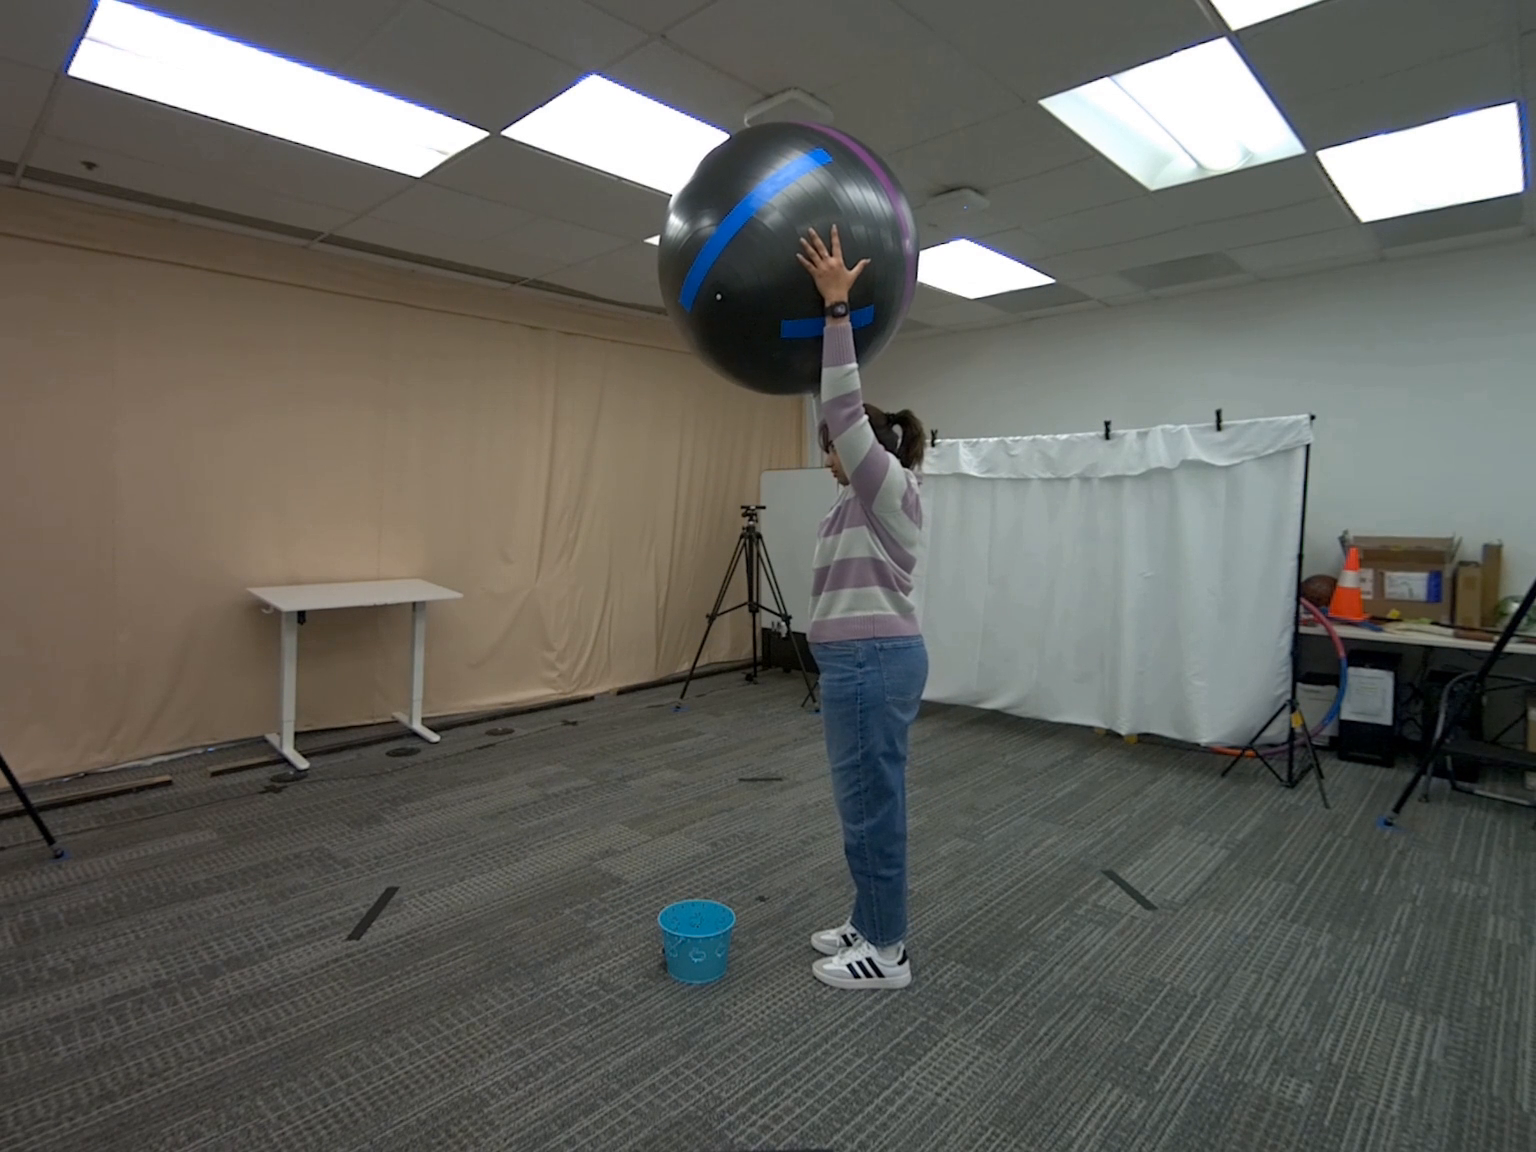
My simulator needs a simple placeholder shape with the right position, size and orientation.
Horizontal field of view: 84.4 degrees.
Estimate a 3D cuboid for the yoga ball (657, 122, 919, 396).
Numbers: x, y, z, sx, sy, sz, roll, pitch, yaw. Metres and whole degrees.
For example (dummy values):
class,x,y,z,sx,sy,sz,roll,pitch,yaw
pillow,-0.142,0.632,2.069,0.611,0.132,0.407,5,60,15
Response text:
class,x,y,z,sx,sy,sz,roll,pitch,yaw
yoga ball,0.056,-0.907,2.470,0.757,0.756,0.761,0,4,-2
